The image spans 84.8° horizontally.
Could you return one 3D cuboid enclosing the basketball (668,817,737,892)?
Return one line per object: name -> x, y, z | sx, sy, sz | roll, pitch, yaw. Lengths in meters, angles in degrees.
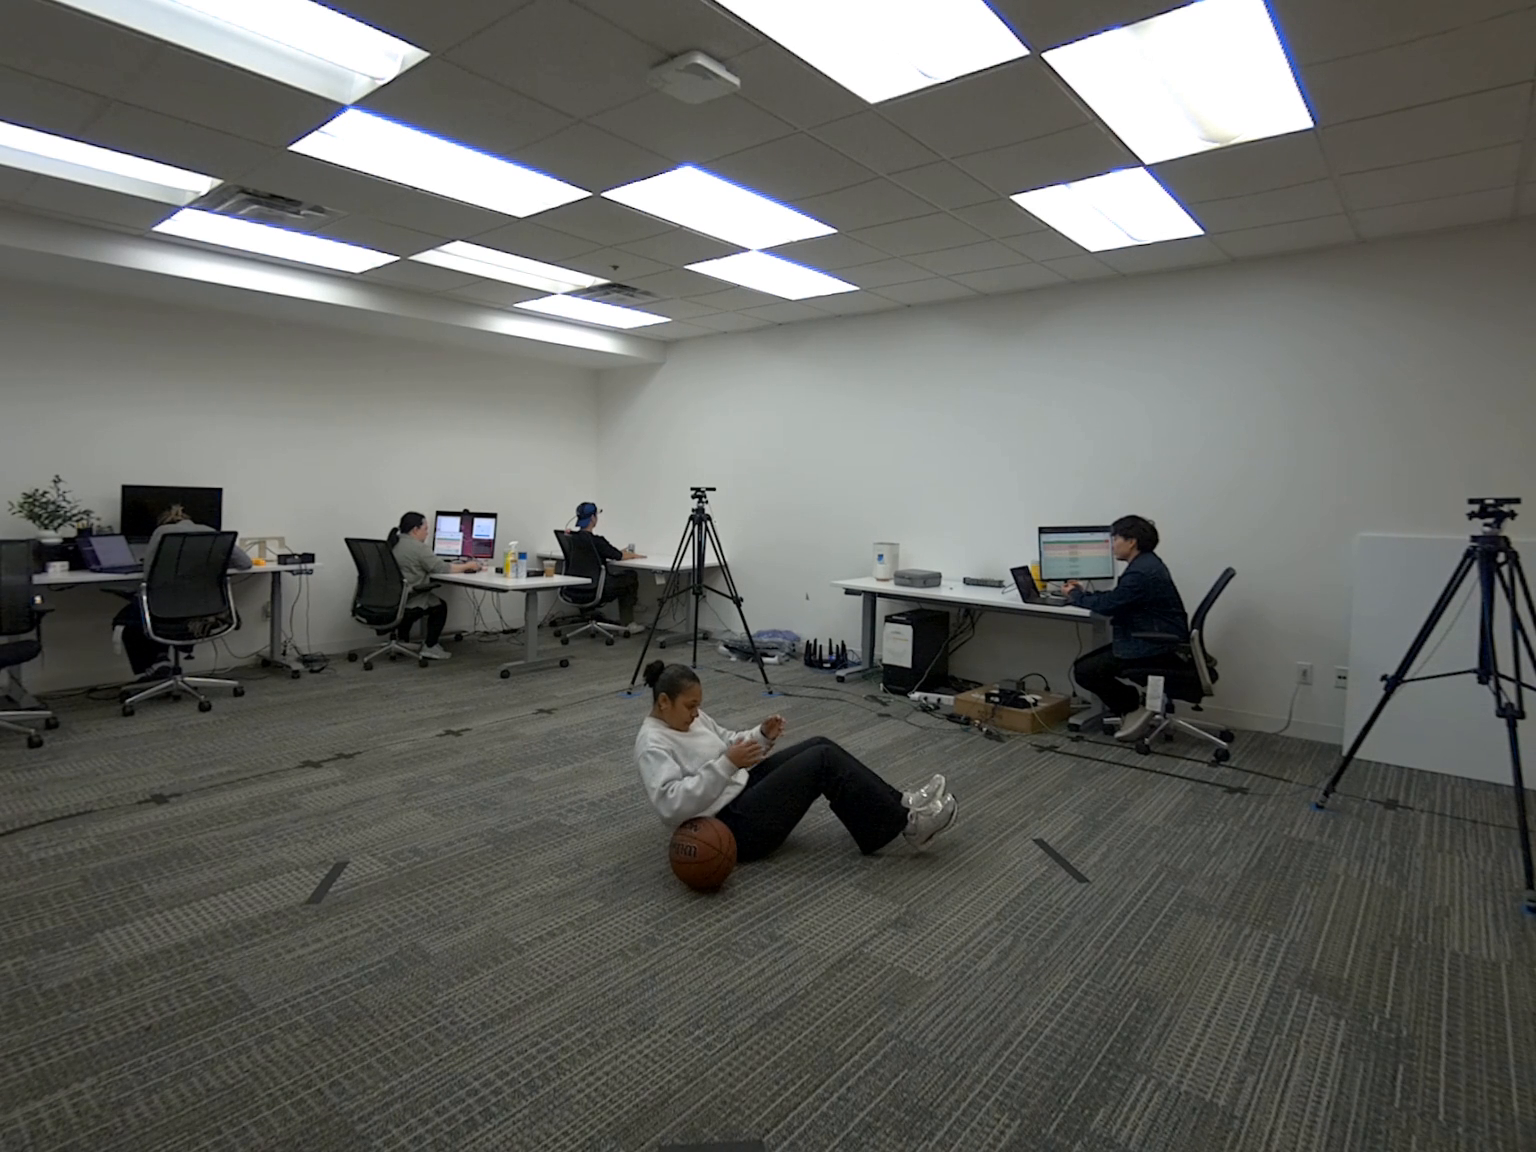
basketball -> -0.235, 0.958, 2.970 | 0.235, 0.235, 0.237 | 1, 4, -2
